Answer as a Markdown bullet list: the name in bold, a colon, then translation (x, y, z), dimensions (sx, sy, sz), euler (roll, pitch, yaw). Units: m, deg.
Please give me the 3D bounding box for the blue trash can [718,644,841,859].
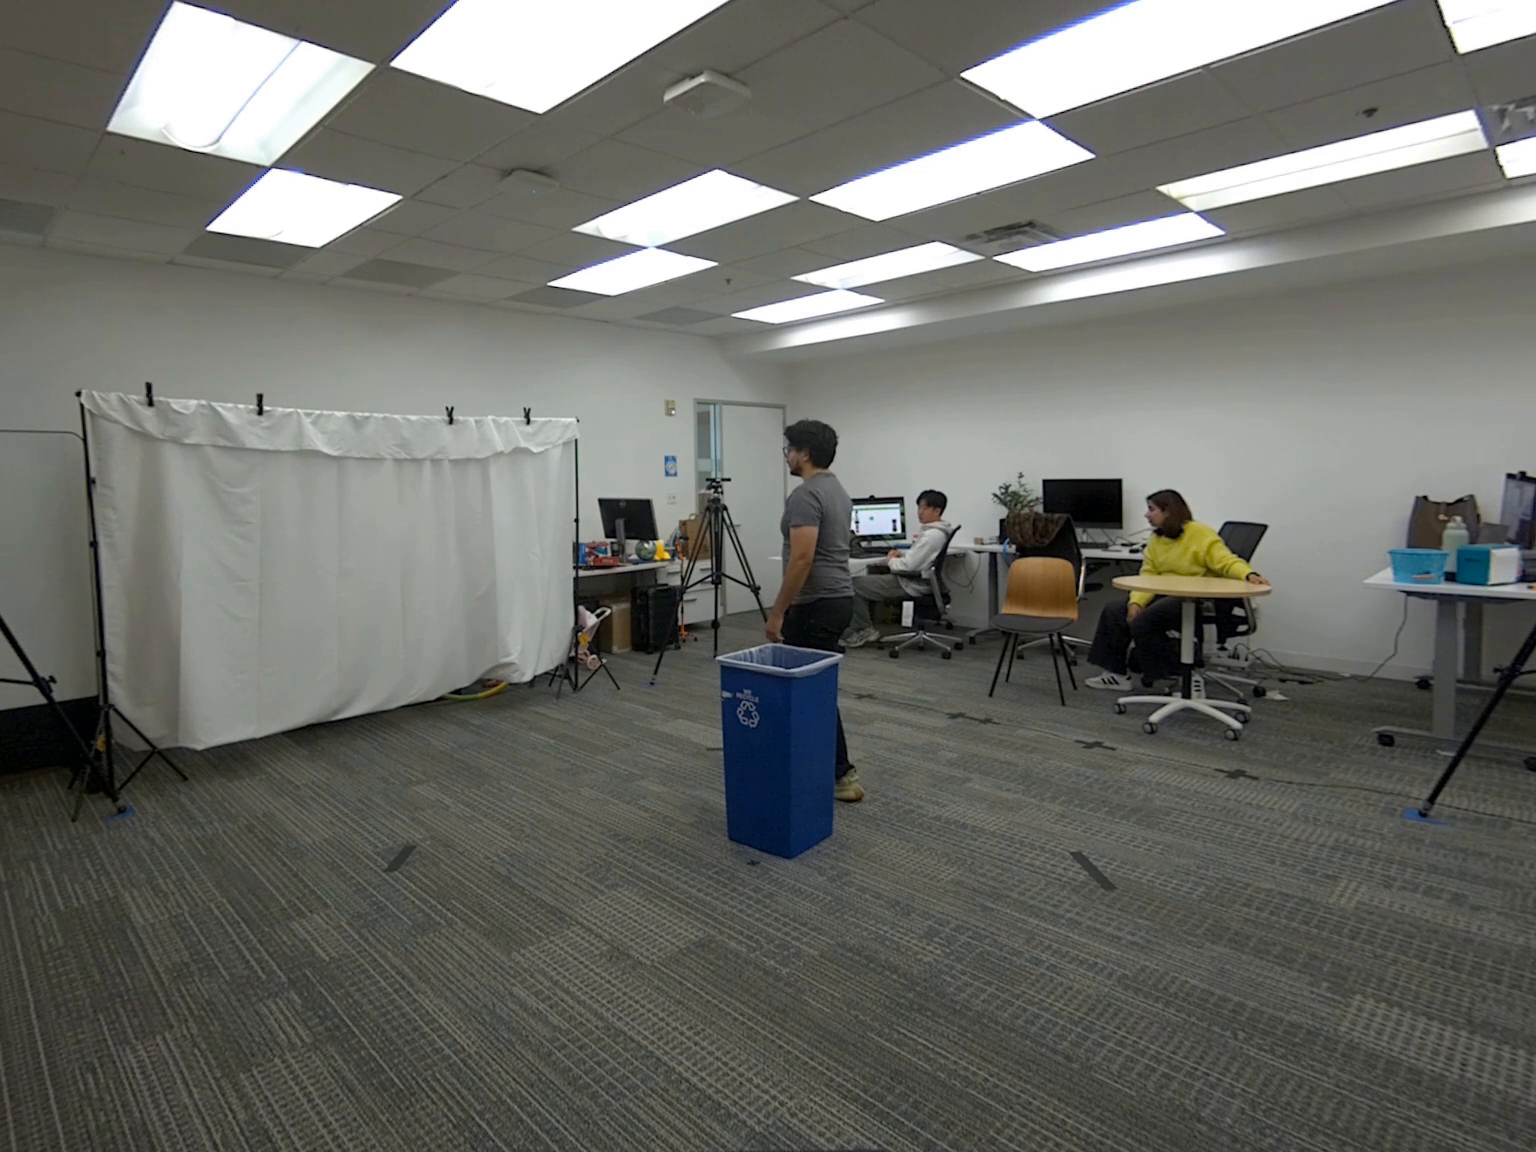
- **blue trash can**: translation (0.052, 0.660, 3.302), dimensions (0.385, 0.711, 0.368), euler (2, 5, 38)
